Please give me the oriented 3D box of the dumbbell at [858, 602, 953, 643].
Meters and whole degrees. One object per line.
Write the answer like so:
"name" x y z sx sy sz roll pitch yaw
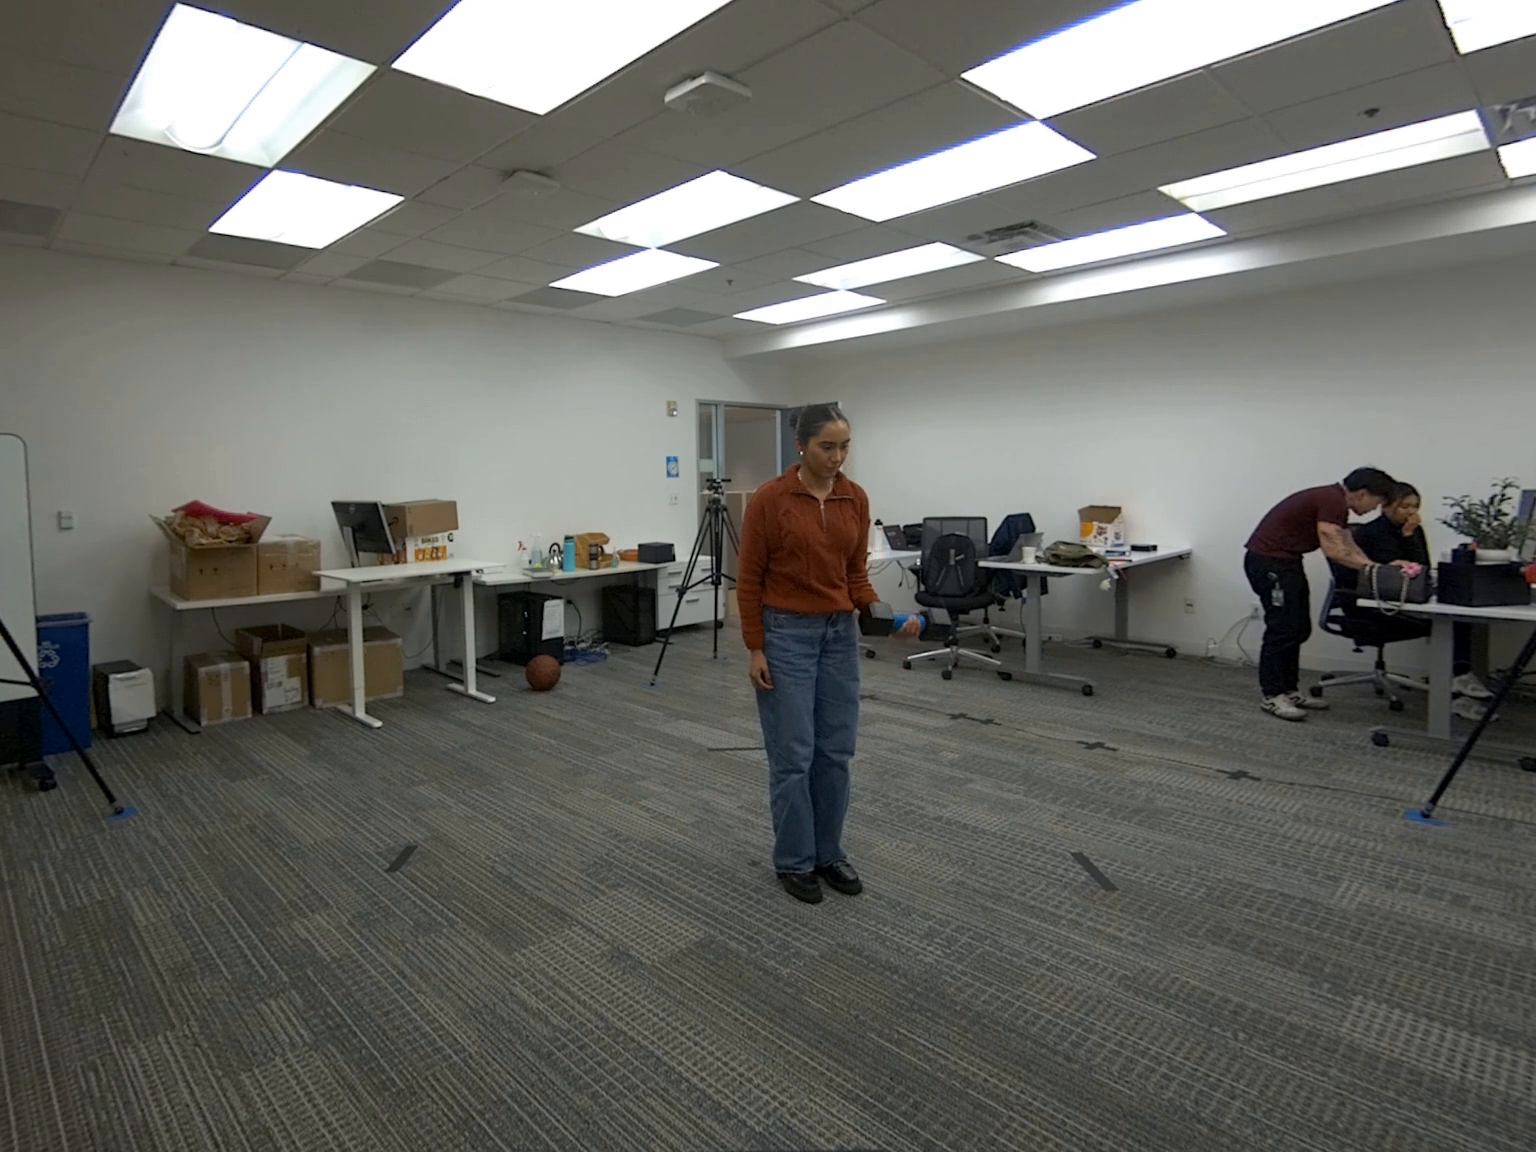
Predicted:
"dumbbell" 0.437 0.153 2.787 0.288 0.110 0.124 6 -11 -17
